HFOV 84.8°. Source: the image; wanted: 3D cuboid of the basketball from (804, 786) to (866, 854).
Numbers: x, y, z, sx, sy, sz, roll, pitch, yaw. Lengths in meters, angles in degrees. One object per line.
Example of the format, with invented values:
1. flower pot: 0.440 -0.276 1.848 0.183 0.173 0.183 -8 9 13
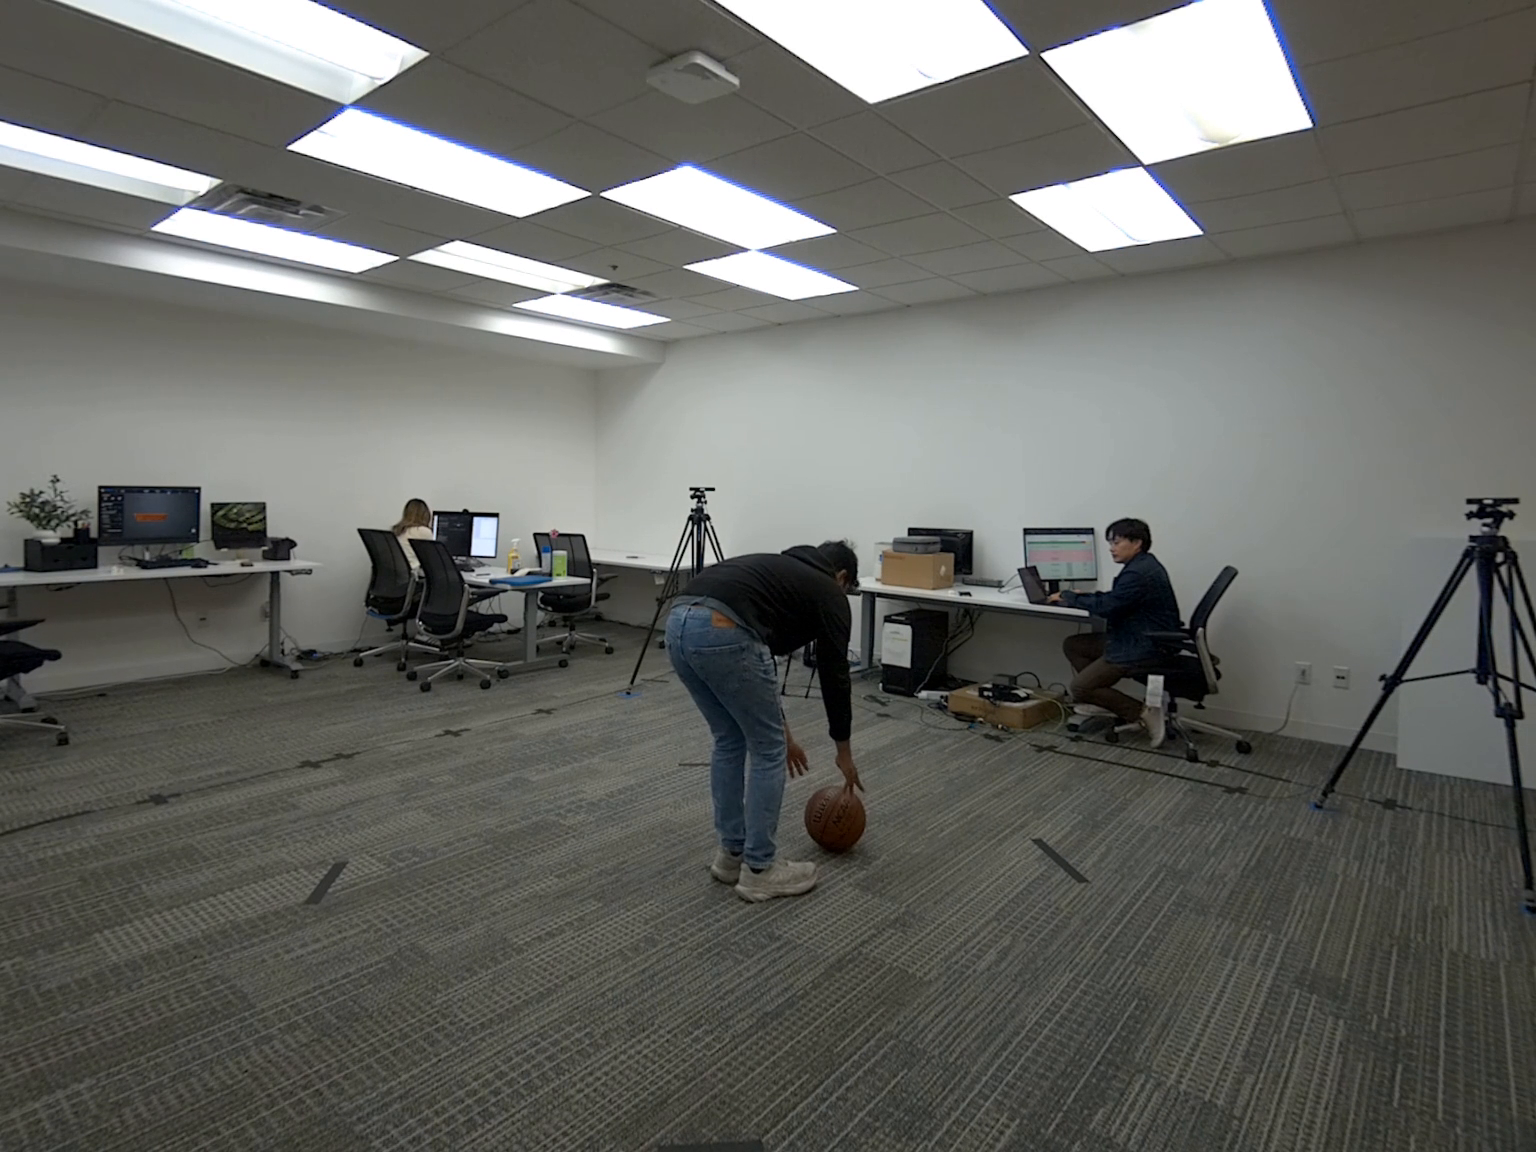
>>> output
1. basketball: 0.256 0.933 3.311 0.235 0.235 0.237 1 4 -2
